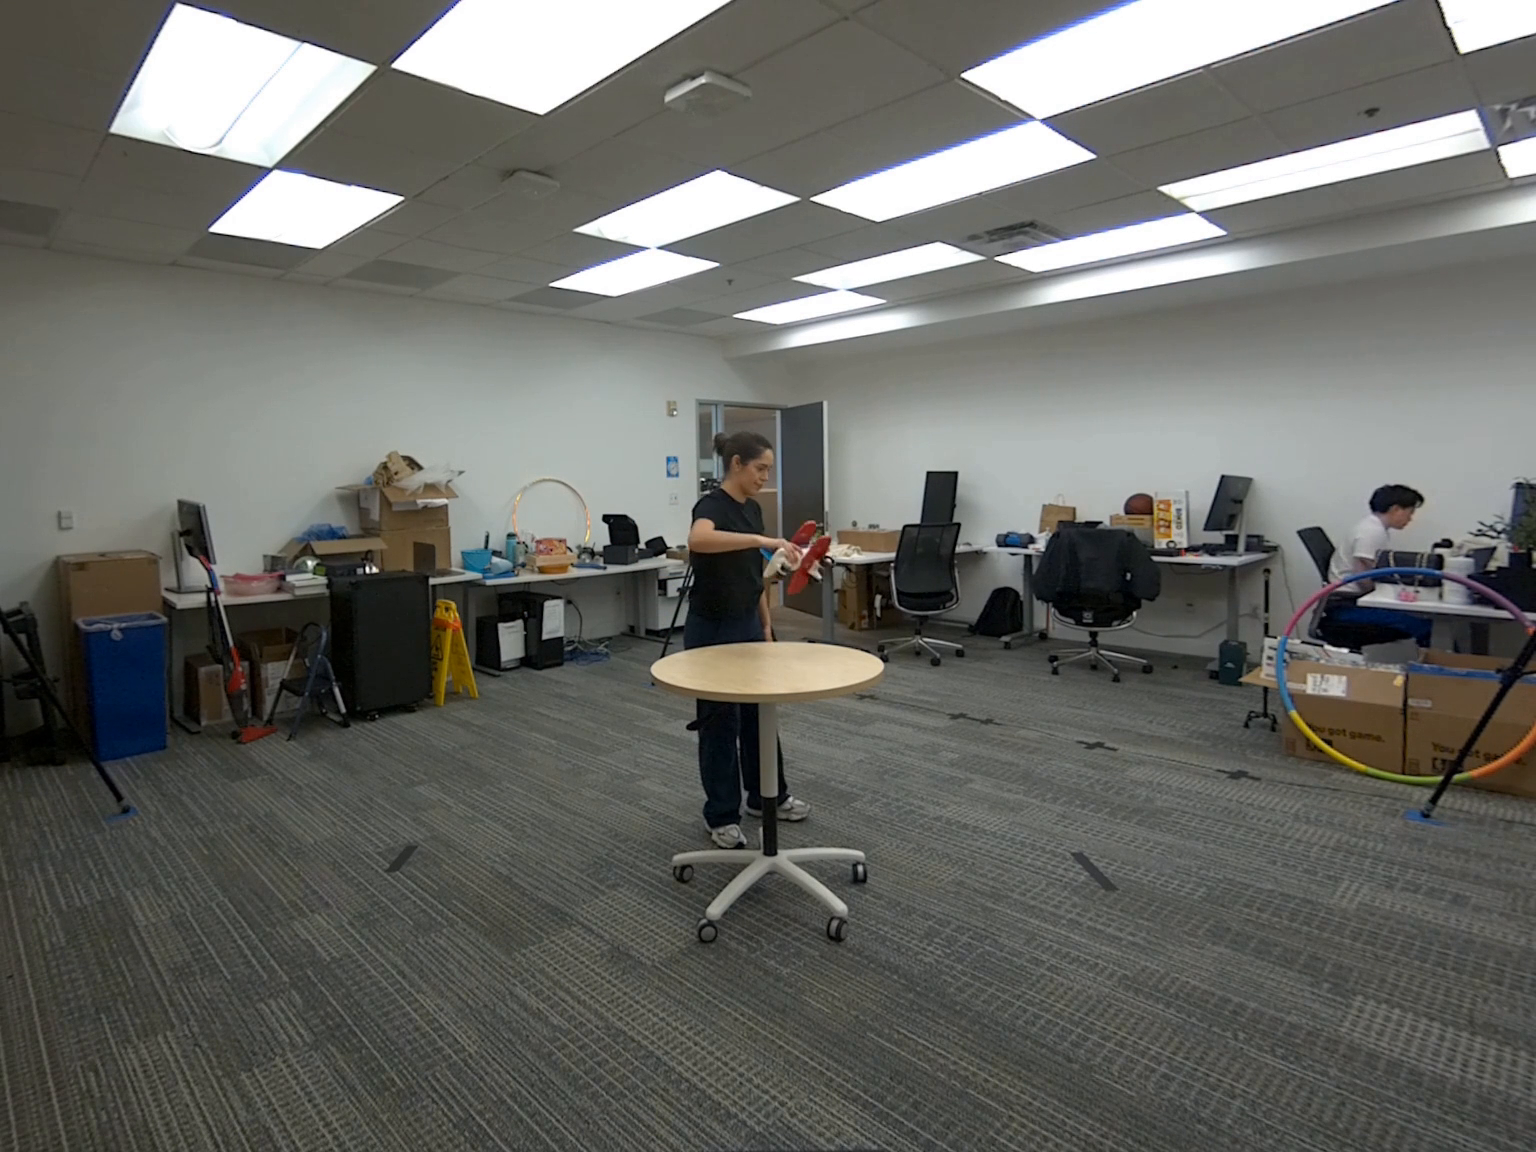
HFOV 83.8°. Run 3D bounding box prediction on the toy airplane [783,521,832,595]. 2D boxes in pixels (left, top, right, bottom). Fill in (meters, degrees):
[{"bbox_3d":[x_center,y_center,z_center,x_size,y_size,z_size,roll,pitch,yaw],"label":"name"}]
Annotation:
[{"bbox_3d":[0.103,-0.075,2.911,0.249,0.251,0.162,39,12,-50],"label":"toy airplane"}]
